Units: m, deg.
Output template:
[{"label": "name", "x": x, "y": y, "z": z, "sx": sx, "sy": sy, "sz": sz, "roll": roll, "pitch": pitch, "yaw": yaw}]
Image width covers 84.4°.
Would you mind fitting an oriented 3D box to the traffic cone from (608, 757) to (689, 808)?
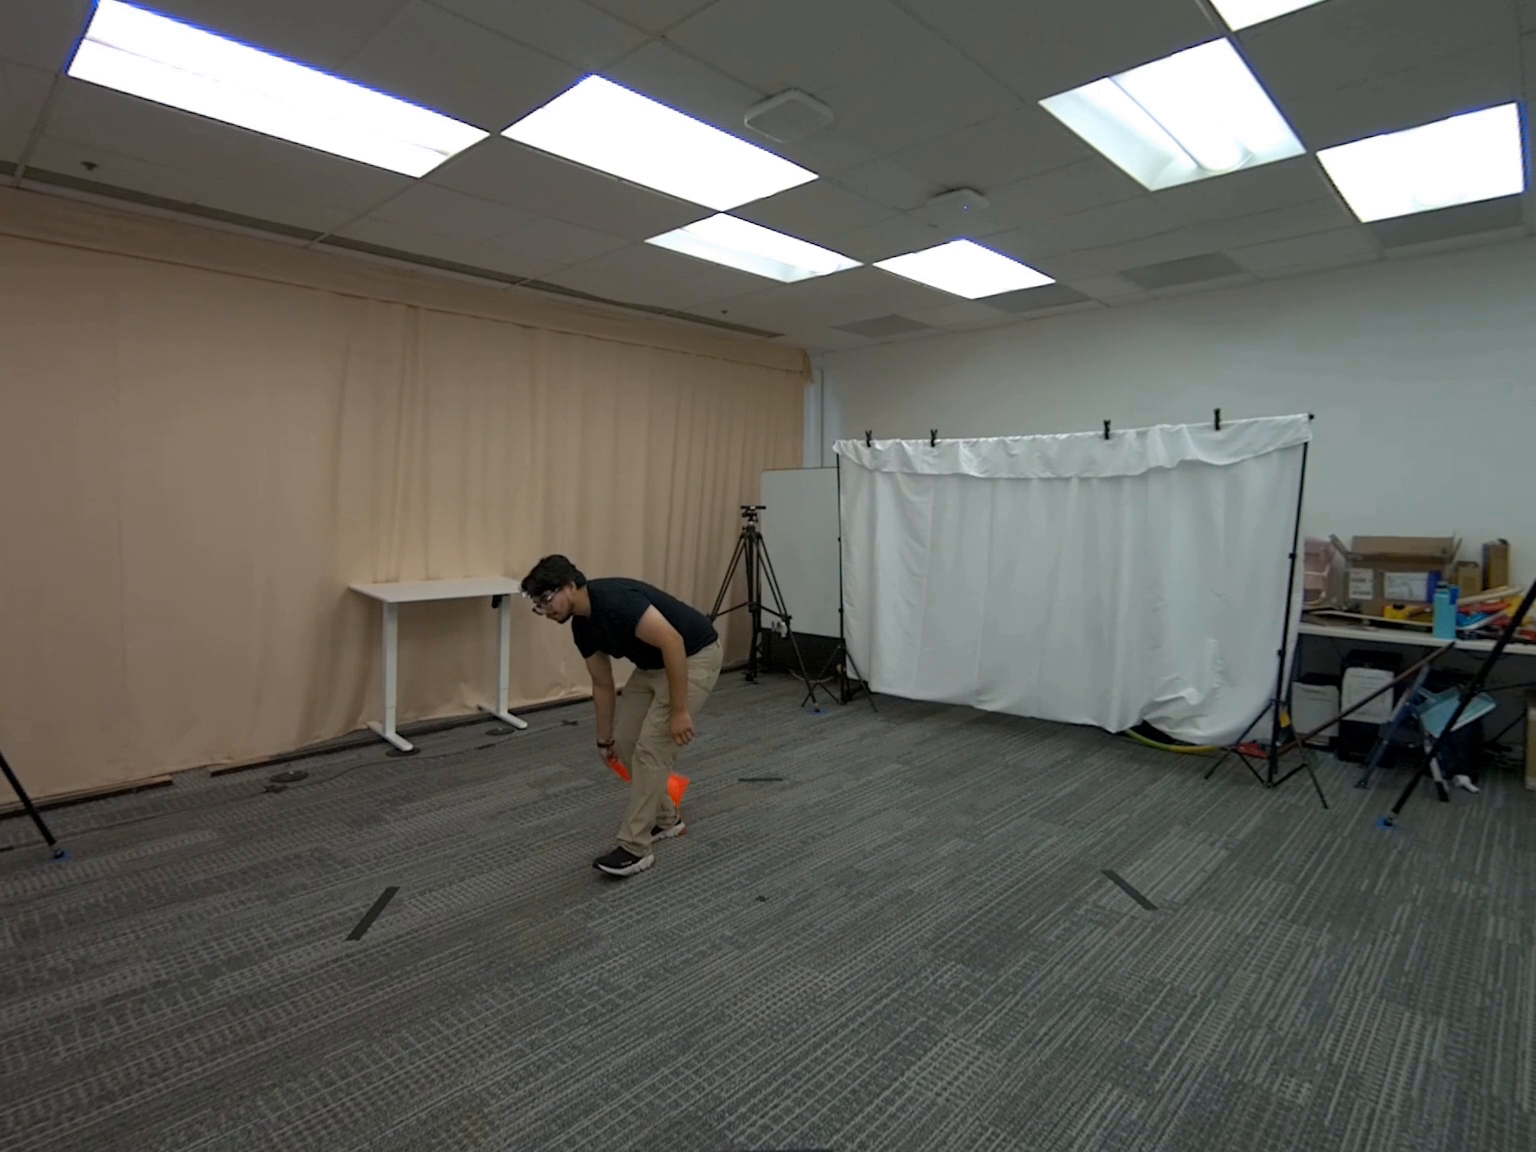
[{"label": "traffic cone", "x": -0.572, "y": 0.899, "z": 3.719, "sx": 0.210, "sy": 0.205, "sz": 0.370, "roll": 10, "pitch": -27, "yaw": 45}]
